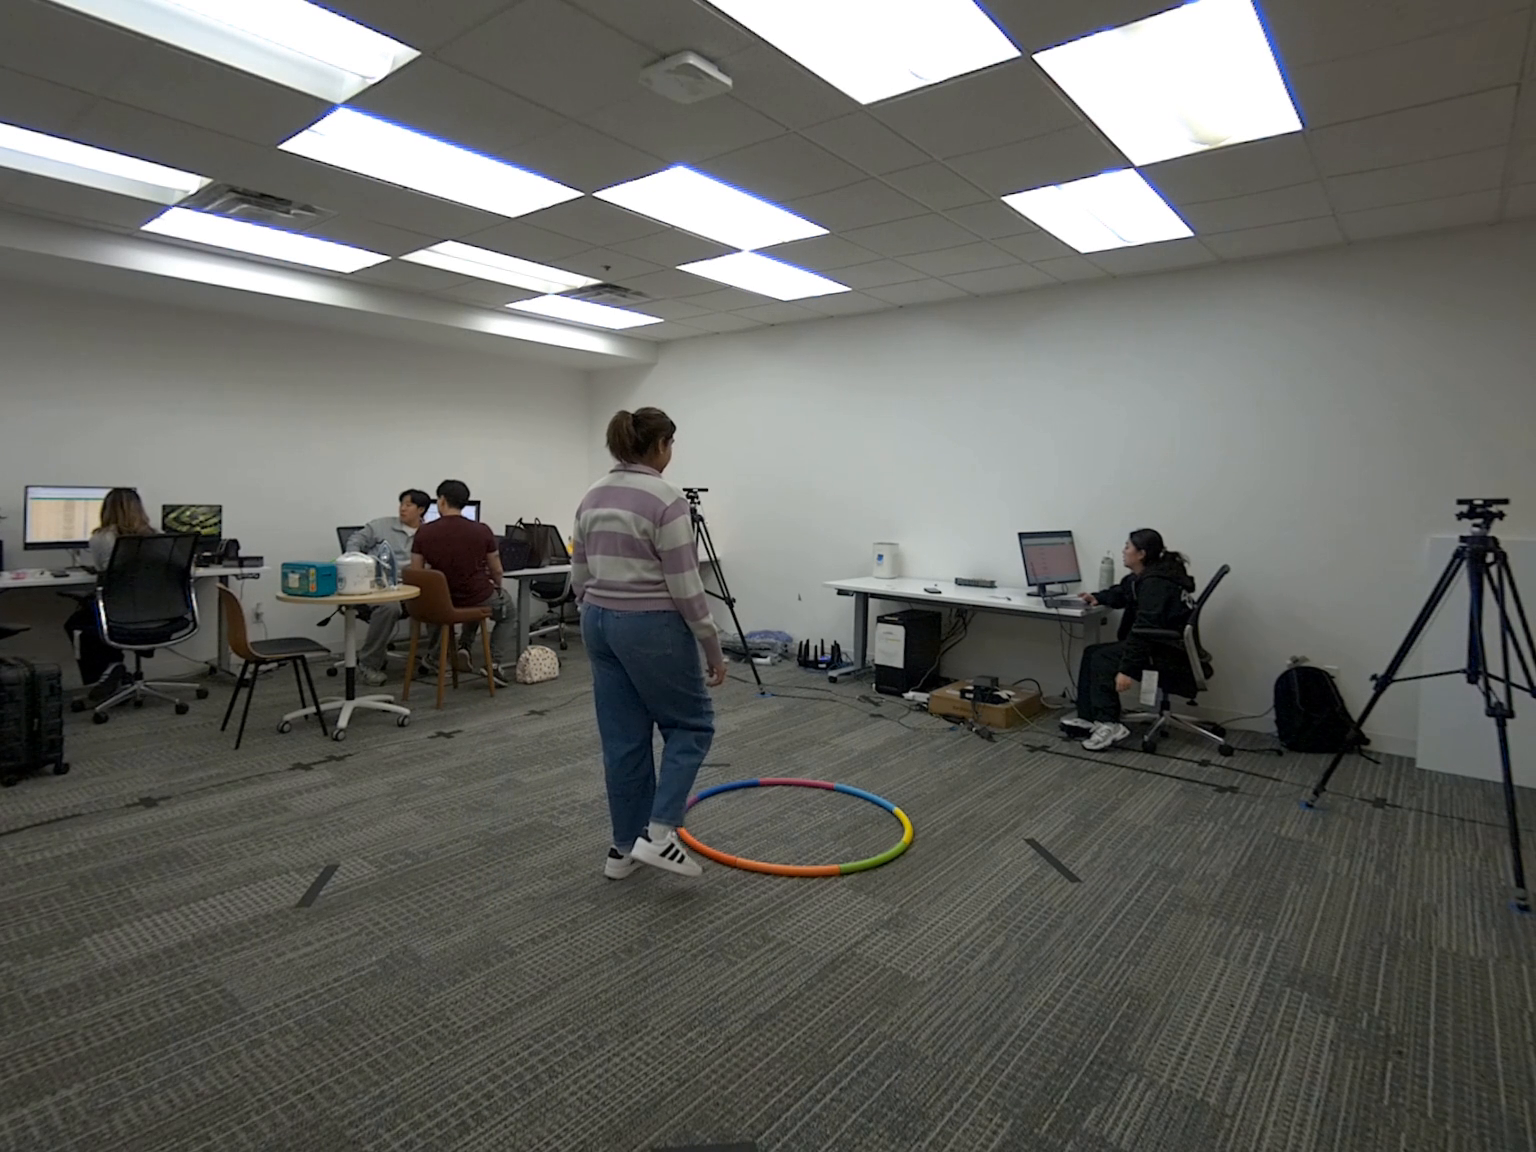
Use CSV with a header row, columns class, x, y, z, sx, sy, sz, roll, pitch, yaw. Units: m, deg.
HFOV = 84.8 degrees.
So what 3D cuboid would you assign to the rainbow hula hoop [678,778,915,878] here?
class,x,y,z,sx,sy,sz,roll,pitch,yaw
rainbow hula hoop,0.094,1.005,3.545,0.978,0.035,0.984,1,6,-2
